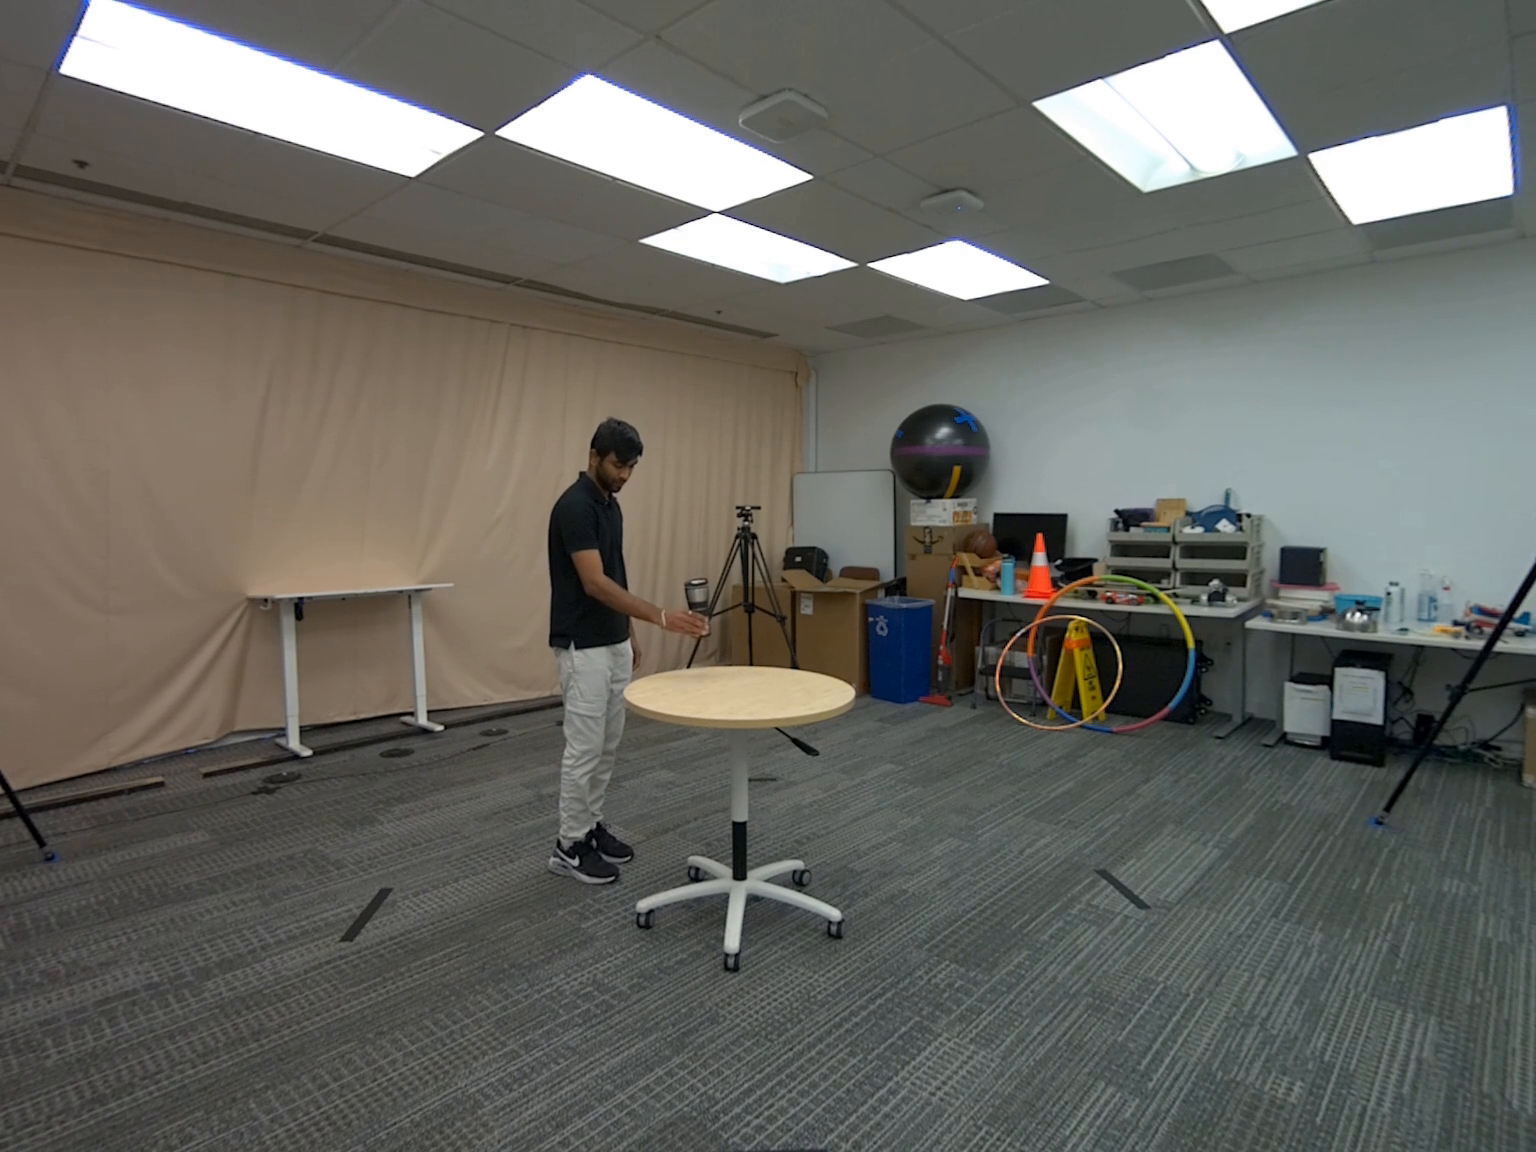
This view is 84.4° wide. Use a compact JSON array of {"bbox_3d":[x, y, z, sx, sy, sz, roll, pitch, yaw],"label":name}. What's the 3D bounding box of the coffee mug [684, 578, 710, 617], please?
[{"bbox_3d":[-0.248,0.126,3.041,0.089,0.202,0.121,-6,8,10],"label":"coffee mug"}]
